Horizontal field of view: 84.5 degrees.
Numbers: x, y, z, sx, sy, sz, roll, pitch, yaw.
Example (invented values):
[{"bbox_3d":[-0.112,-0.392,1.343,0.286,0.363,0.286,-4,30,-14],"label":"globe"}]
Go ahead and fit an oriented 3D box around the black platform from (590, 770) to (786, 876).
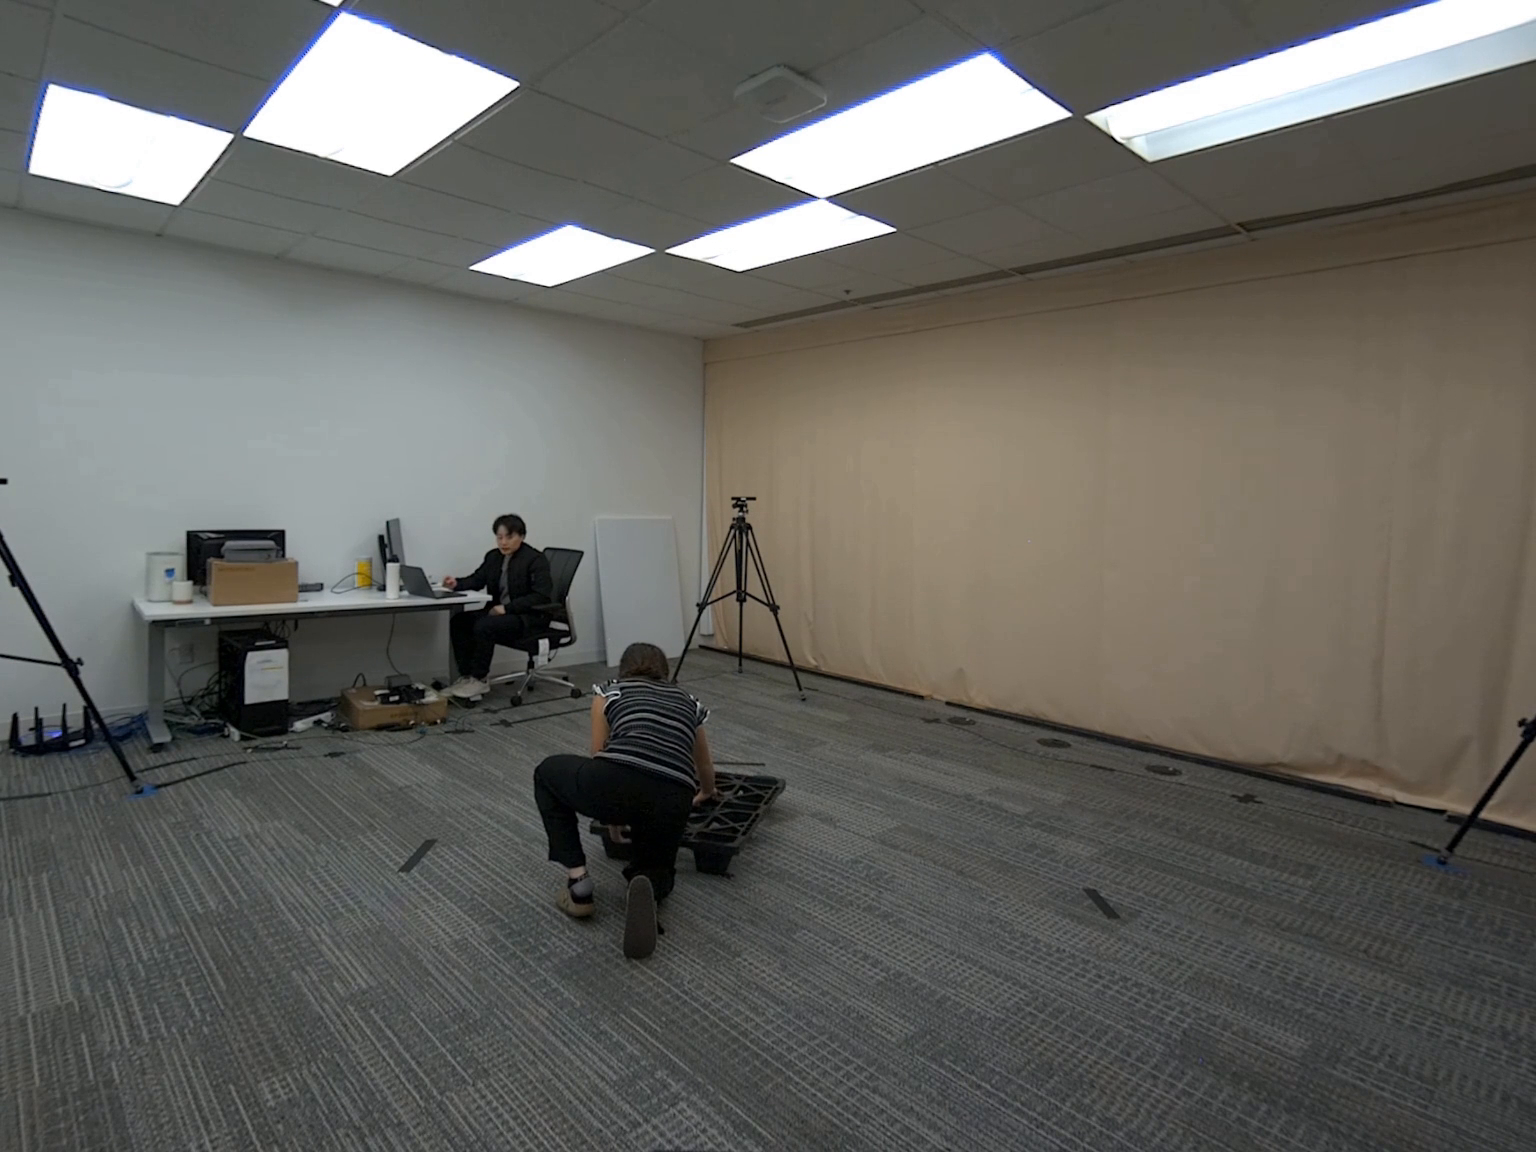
[{"bbox_3d":[-0.306,0.998,3.512,0.613,0.143,0.798,4,6,15],"label":"black platform"}]
